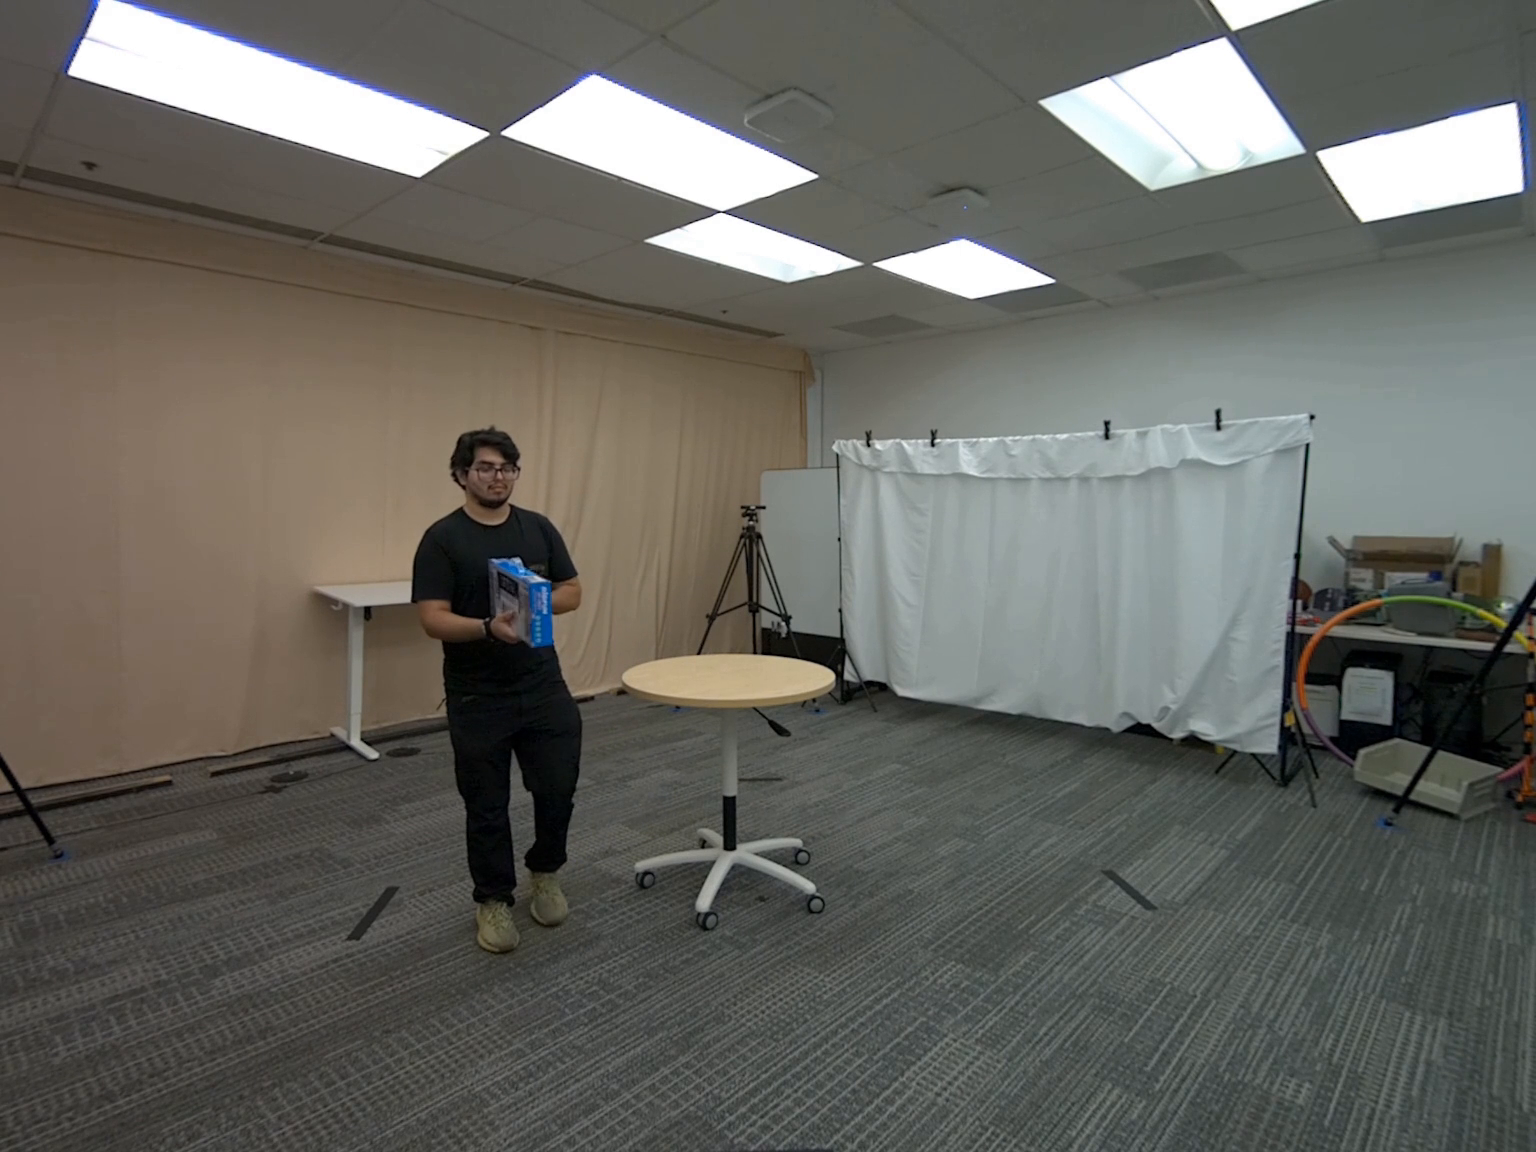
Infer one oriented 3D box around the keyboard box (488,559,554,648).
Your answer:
[{"bbox_3d":[-0.706,0.067,2.369,0.057,0.175,0.451,-5,11,-31],"label":"keyboard box"}]
